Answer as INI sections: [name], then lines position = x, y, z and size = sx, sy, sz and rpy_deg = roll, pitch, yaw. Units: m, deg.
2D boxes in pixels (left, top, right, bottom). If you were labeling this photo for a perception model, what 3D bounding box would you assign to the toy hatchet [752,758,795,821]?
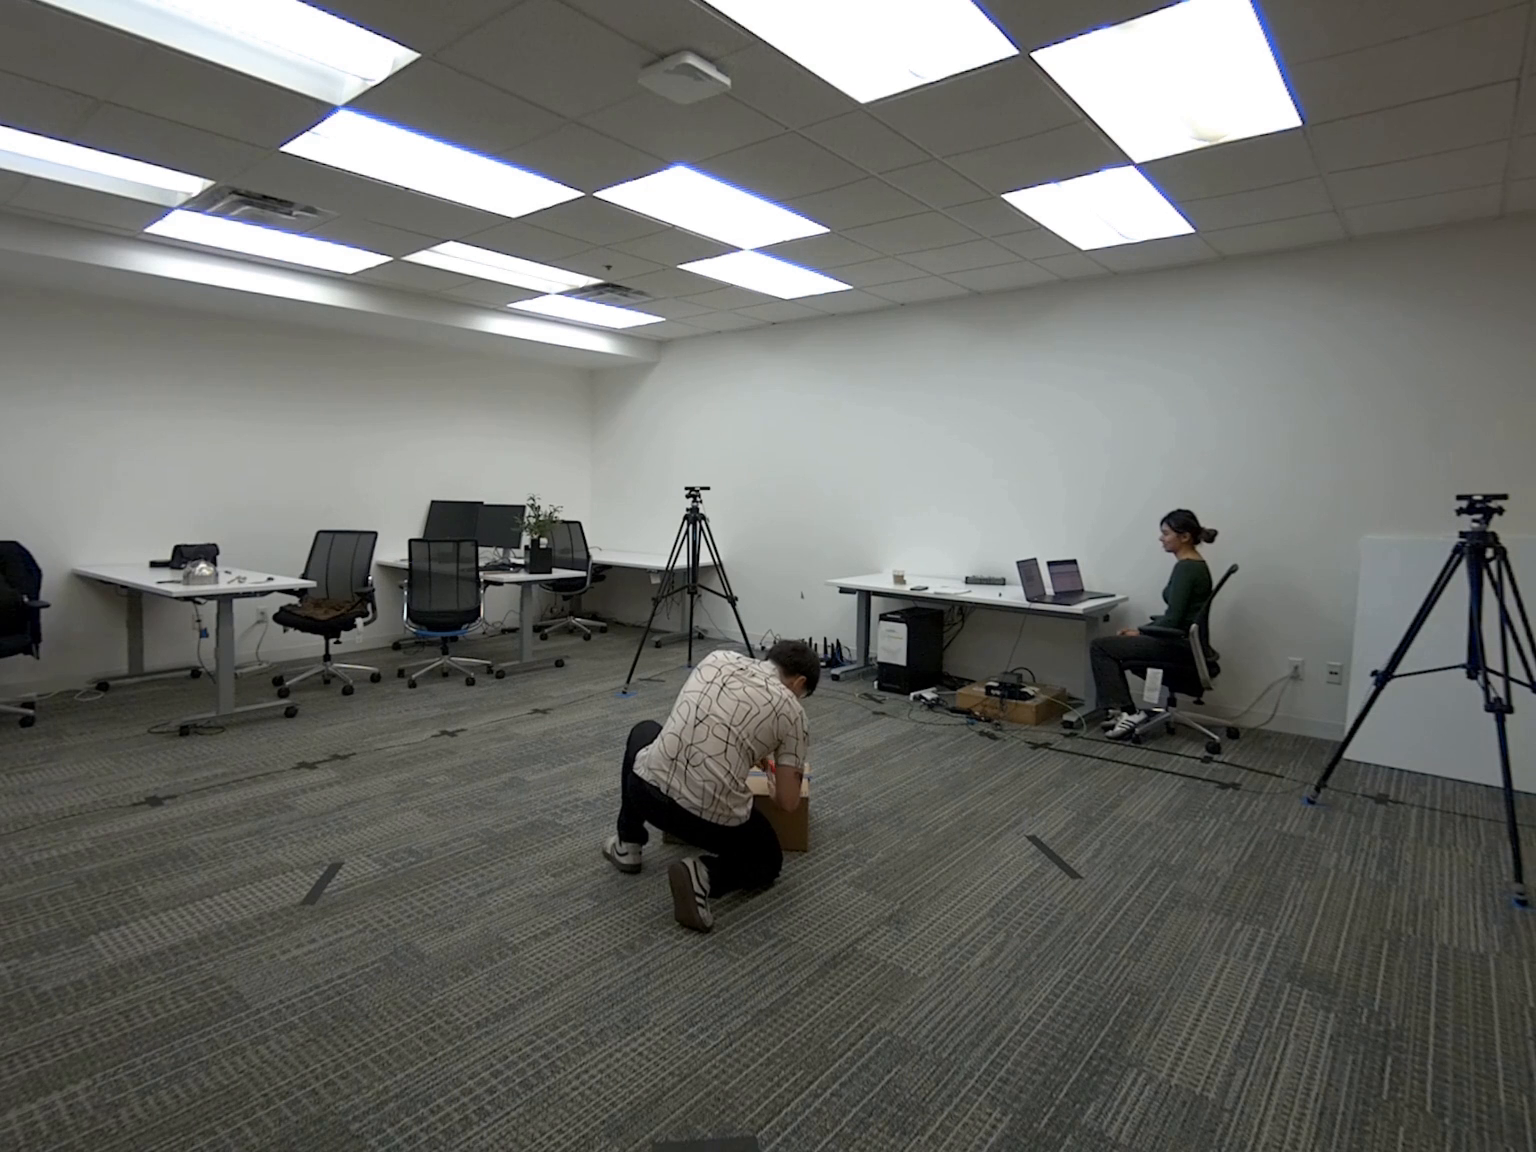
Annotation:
[toy hatchet]
position = 0.006, 0.798, 3.233
size = 0.126, 0.029, 0.280
rpy_deg = 34, 18, -34
